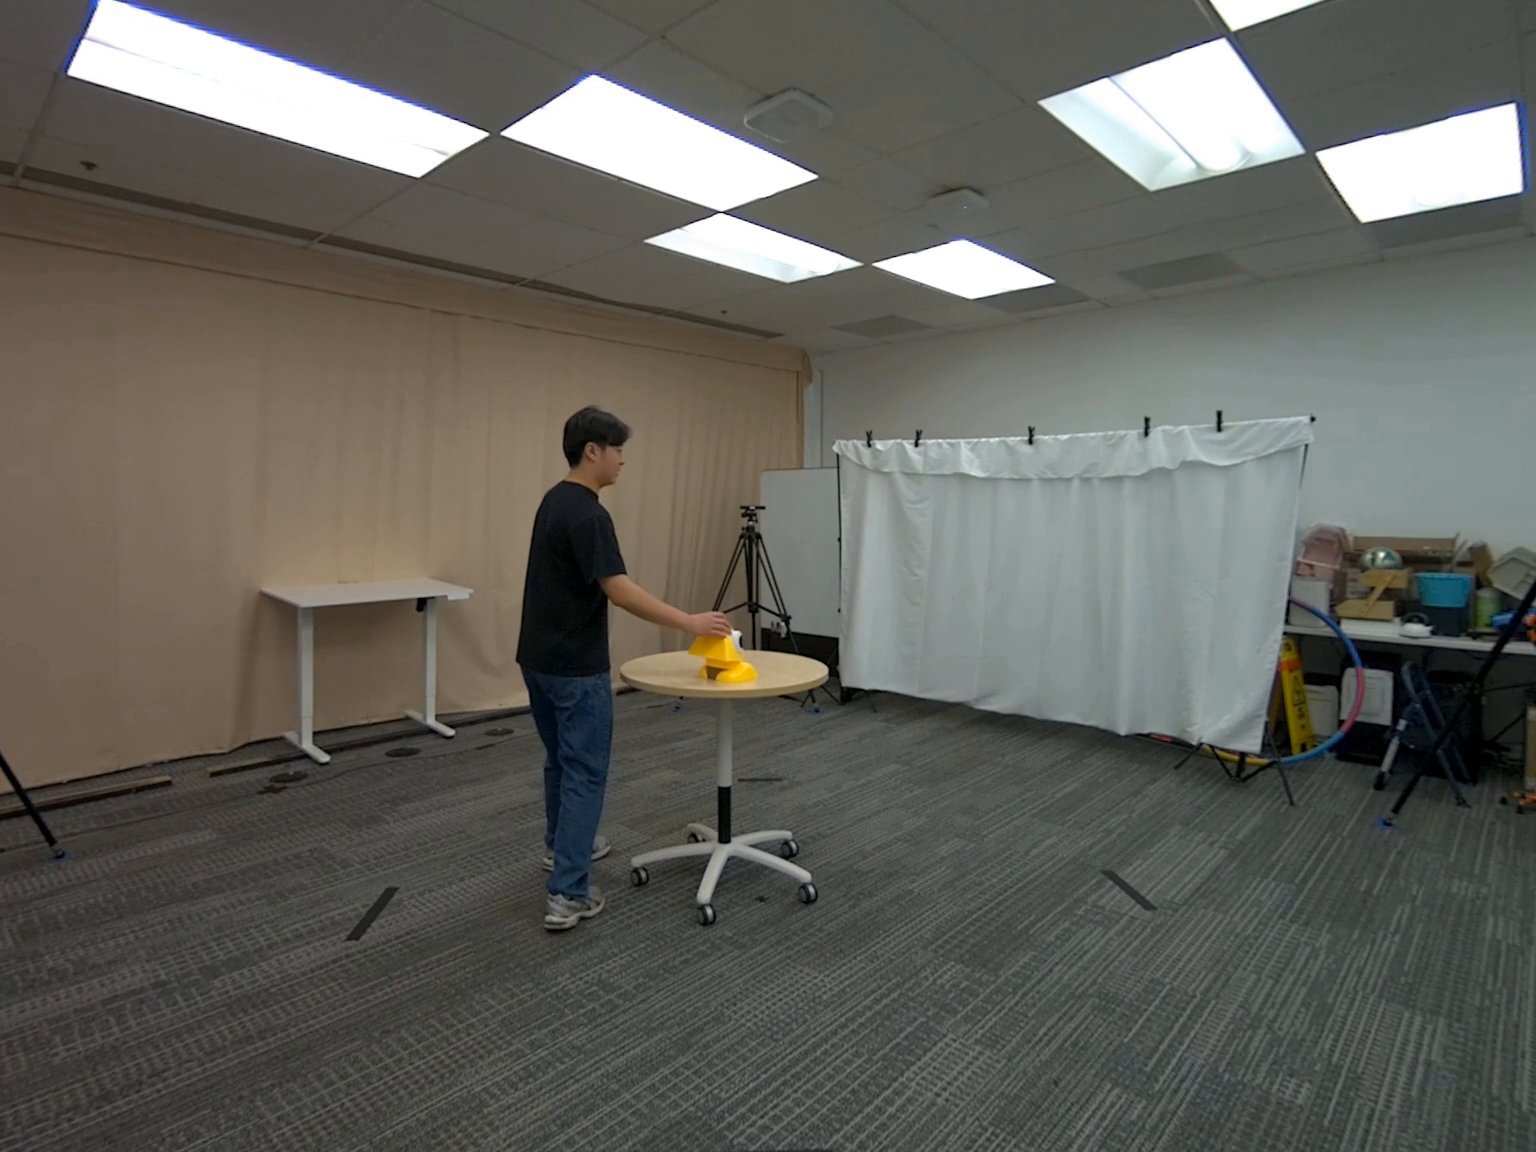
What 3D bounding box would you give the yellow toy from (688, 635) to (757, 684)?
[{"bbox_3d":[-0.147,0.239,2.936,0.187,0.230,0.211,-2,4,-44],"label":"yellow toy"}]
